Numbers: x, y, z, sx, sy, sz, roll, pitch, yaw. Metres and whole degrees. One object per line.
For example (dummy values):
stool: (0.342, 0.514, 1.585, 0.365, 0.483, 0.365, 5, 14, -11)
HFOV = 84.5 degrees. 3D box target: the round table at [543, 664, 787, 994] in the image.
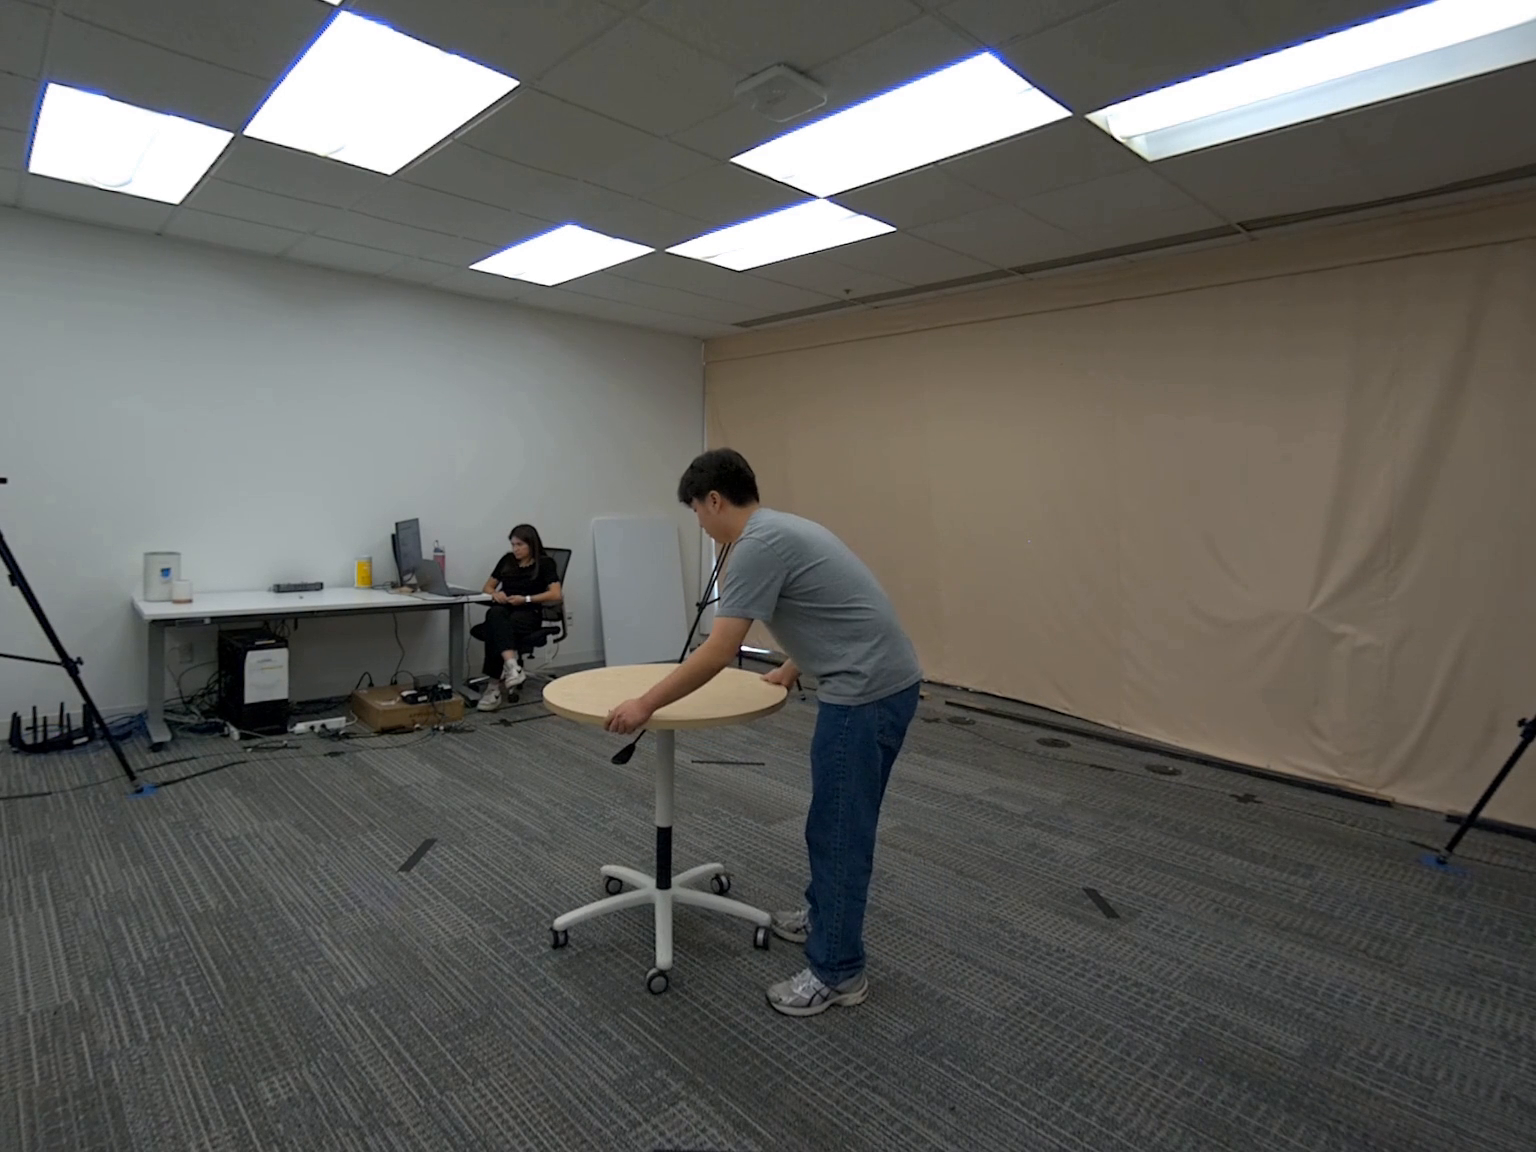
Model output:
round table: (-0.336, 0.750, 2.689, 0.763, 0.792, 0.766, 1, 4, -1)
